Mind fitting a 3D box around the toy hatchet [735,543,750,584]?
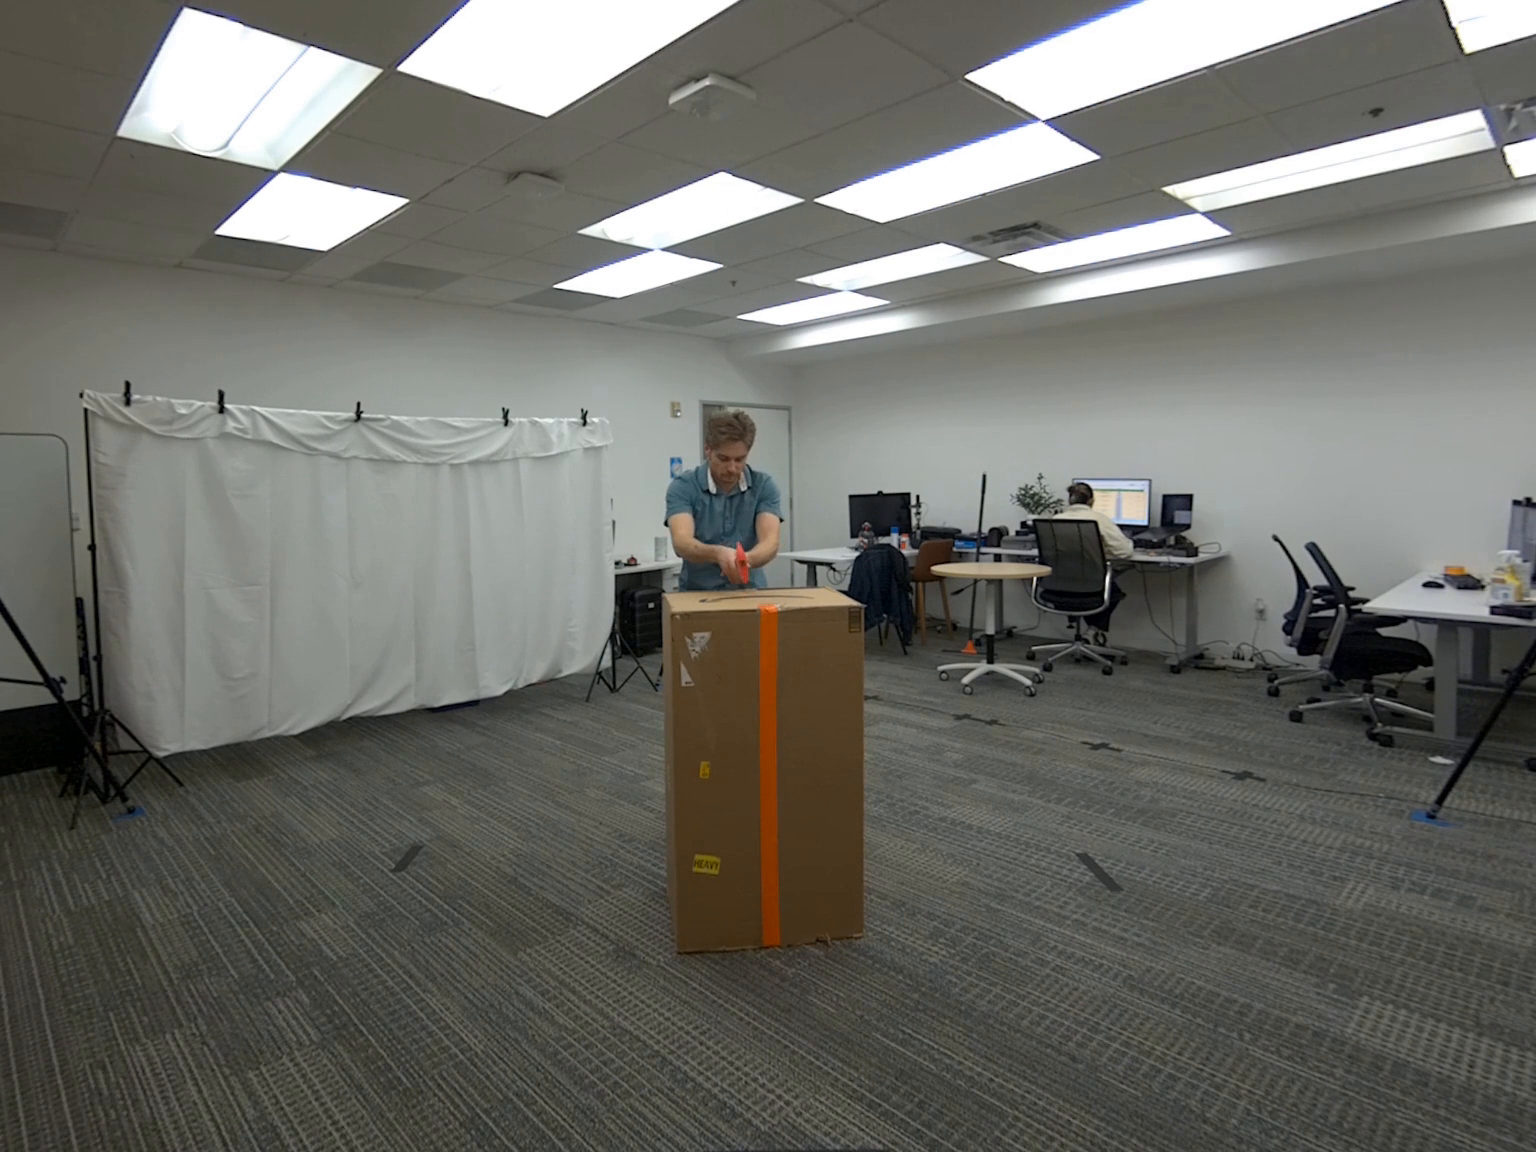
[{"bbox_3d":[-0.098,-0.008,2.883,0.029,0.134,0.264,-12,-19,-2],"label":"toy hatchet"}]
